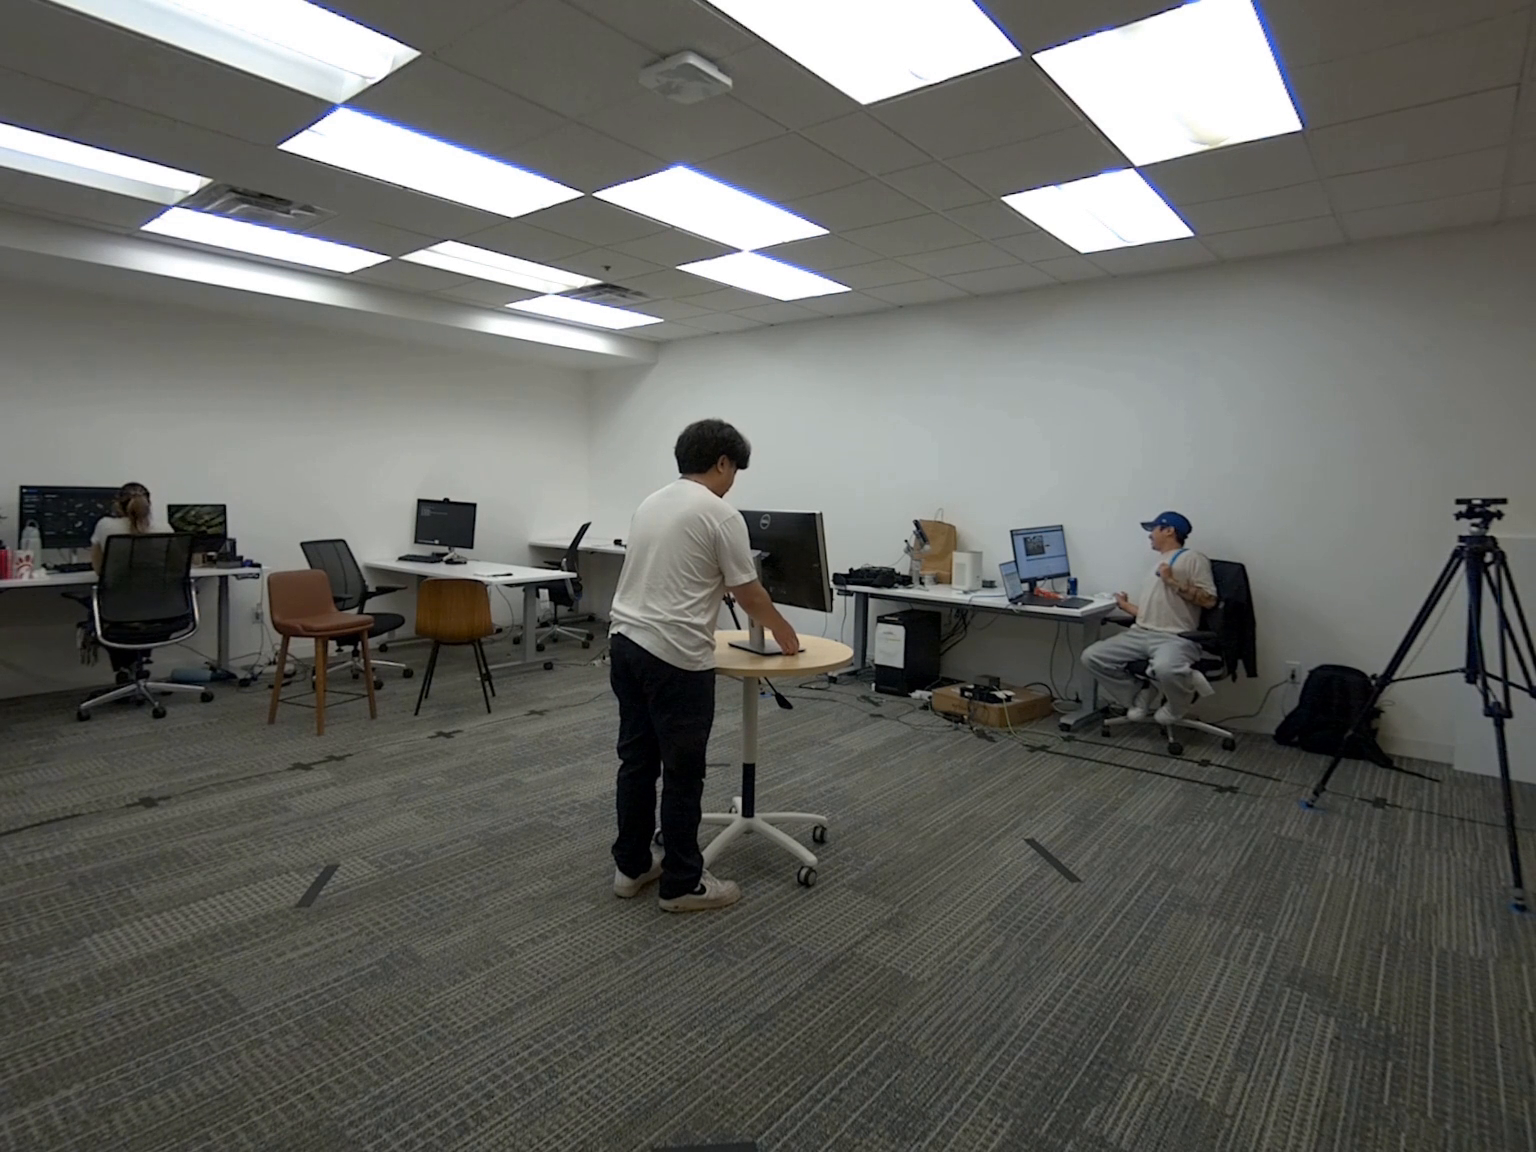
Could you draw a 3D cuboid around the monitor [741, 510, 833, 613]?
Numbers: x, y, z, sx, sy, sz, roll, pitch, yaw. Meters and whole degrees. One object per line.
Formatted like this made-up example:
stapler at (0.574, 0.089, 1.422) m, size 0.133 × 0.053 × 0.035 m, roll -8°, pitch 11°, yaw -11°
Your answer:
monitor at (-0.032, 0.021, 3.192) m, size 0.204 × 0.551 × 0.584 m, roll -6°, pitch 8°, yaw -37°
